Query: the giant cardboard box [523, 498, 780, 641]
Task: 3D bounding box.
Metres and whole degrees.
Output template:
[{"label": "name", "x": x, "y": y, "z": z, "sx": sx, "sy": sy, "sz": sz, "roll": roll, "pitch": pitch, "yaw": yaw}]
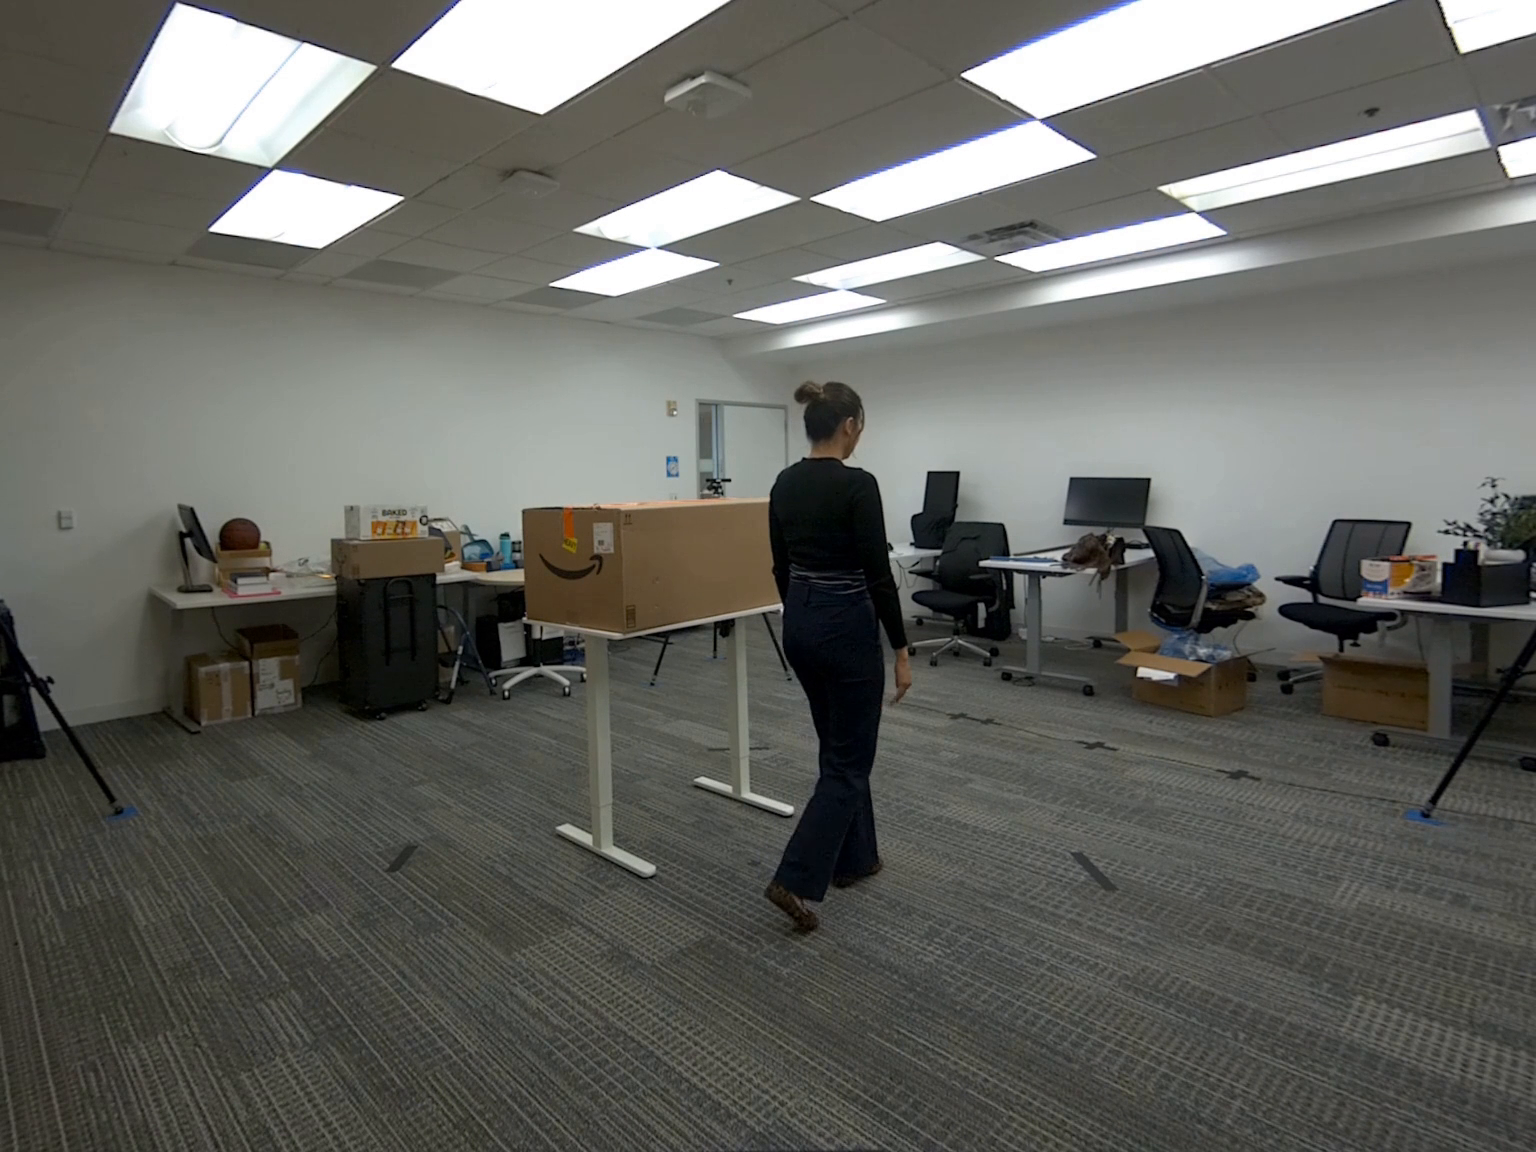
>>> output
[{"label": "giant cardboard box", "x": -0.365, "y": -0.079, "z": 3.403, "sx": 0.595, "sy": 0.424, "sz": 1.000, "roll": 3, "pitch": 8, "yaw": 41}]
